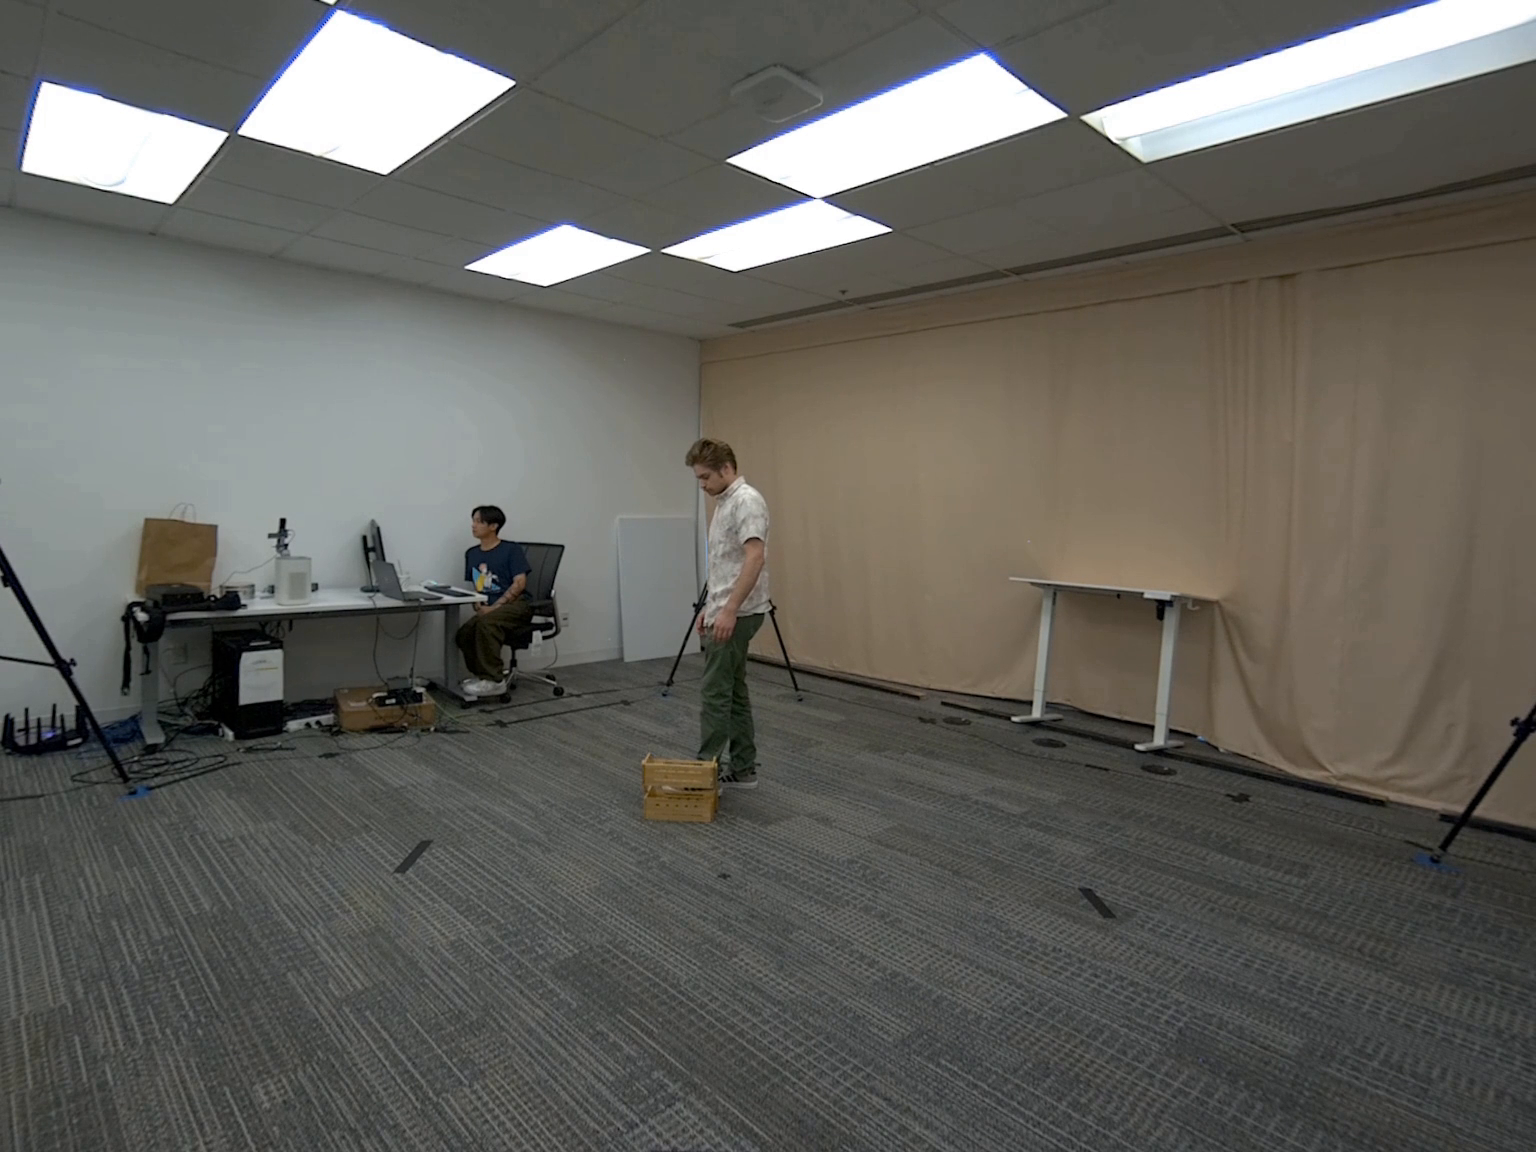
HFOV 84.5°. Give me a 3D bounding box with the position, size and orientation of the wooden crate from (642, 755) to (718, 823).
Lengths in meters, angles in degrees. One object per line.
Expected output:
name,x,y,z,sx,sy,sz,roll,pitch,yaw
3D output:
wooden crate,-0.396,0.915,3.722,0.325,0.272,0.303,2,4,0
